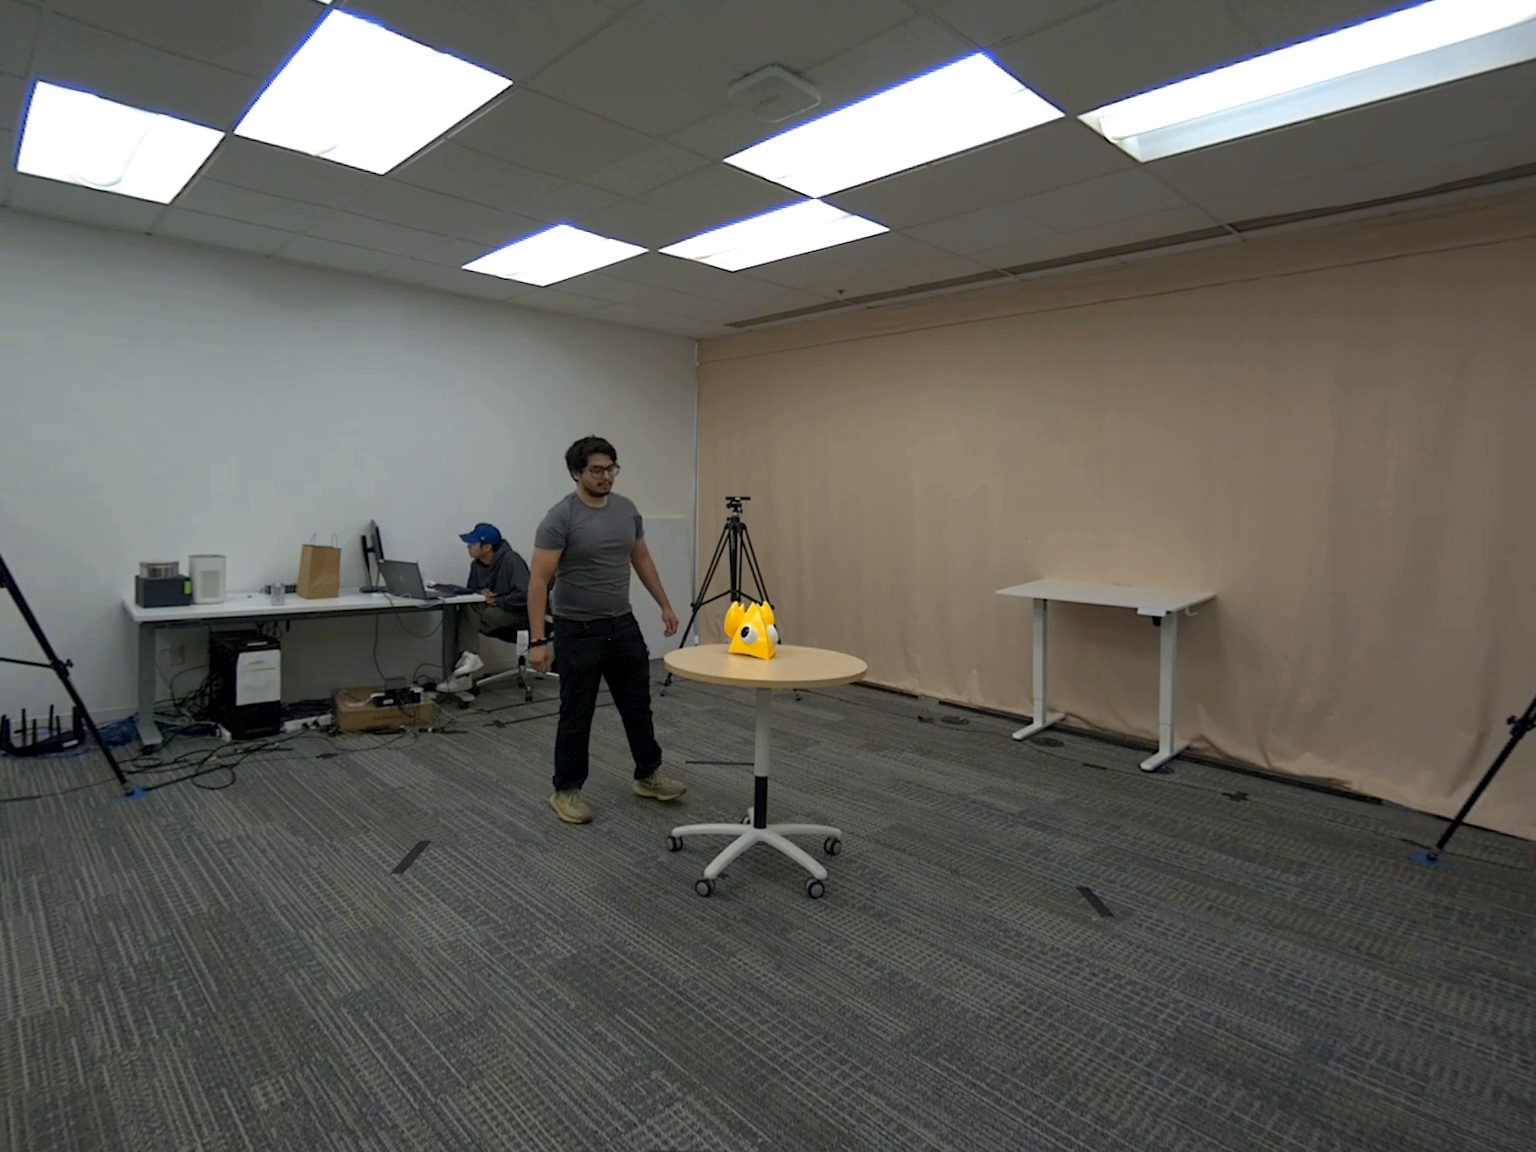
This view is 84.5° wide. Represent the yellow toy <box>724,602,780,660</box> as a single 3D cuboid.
[{"bbox_3d":[-0.043,0.223,3.284,0.201,0.191,0.237,1,17,-22],"label":"yellow toy"}]
